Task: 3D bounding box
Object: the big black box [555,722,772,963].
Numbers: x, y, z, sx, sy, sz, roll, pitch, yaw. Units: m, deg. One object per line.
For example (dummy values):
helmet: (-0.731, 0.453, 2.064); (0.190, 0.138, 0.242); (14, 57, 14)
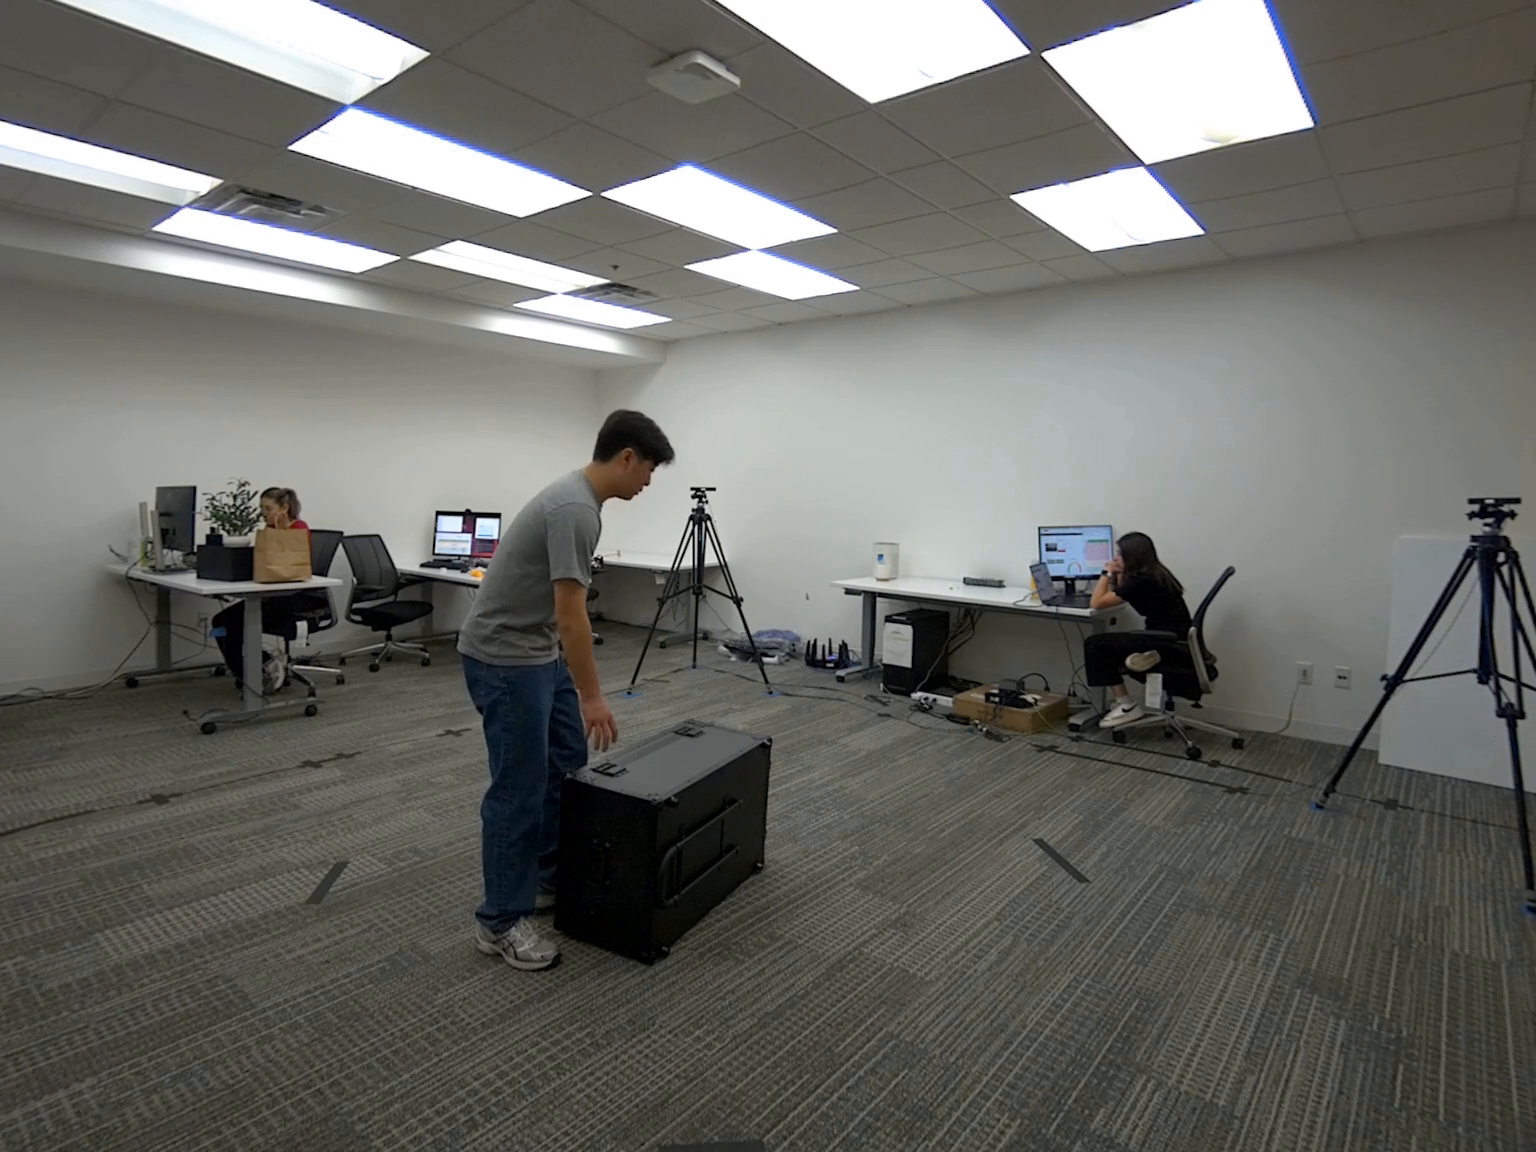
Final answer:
big black box: (-0.303, 0.833, 2.890); (0.407, 0.519, 0.843); (5, 6, 24)
